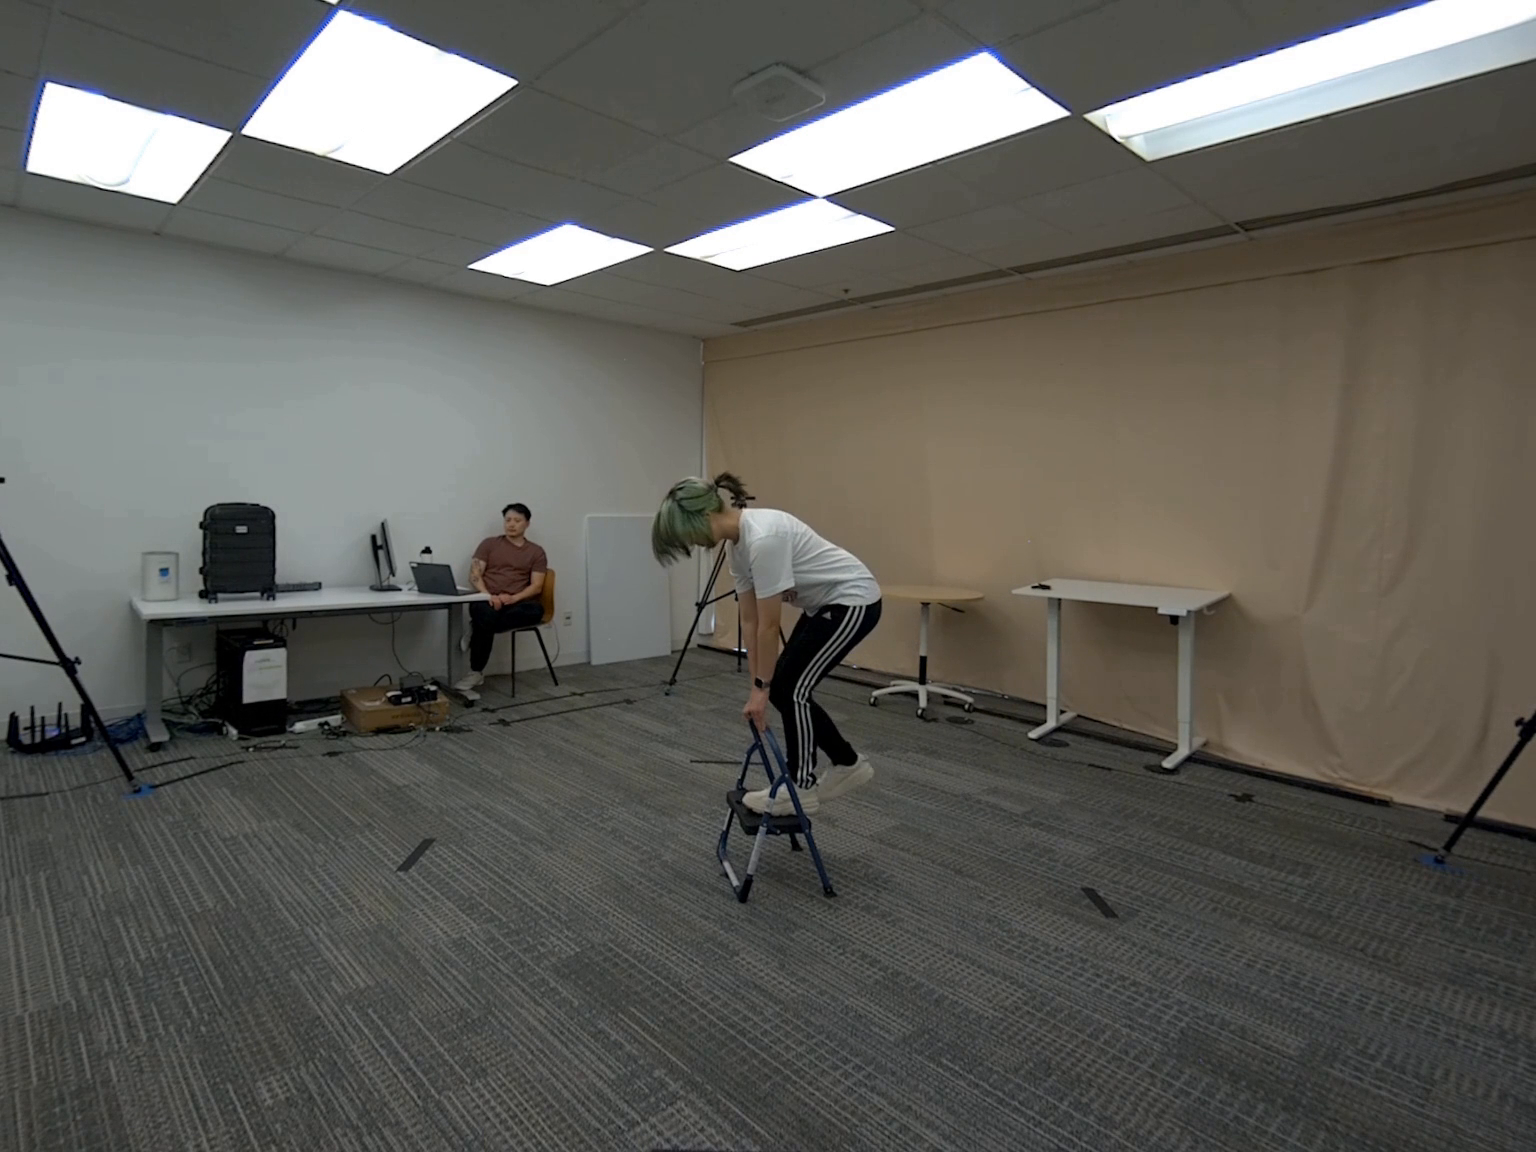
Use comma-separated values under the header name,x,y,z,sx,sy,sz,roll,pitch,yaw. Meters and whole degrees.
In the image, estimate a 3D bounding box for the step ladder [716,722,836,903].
name,x,y,z,sx,sy,sz,roll,pitch,yaw
step ladder,0.015,0.811,3.104,0.345,0.605,0.436,1,3,-15
